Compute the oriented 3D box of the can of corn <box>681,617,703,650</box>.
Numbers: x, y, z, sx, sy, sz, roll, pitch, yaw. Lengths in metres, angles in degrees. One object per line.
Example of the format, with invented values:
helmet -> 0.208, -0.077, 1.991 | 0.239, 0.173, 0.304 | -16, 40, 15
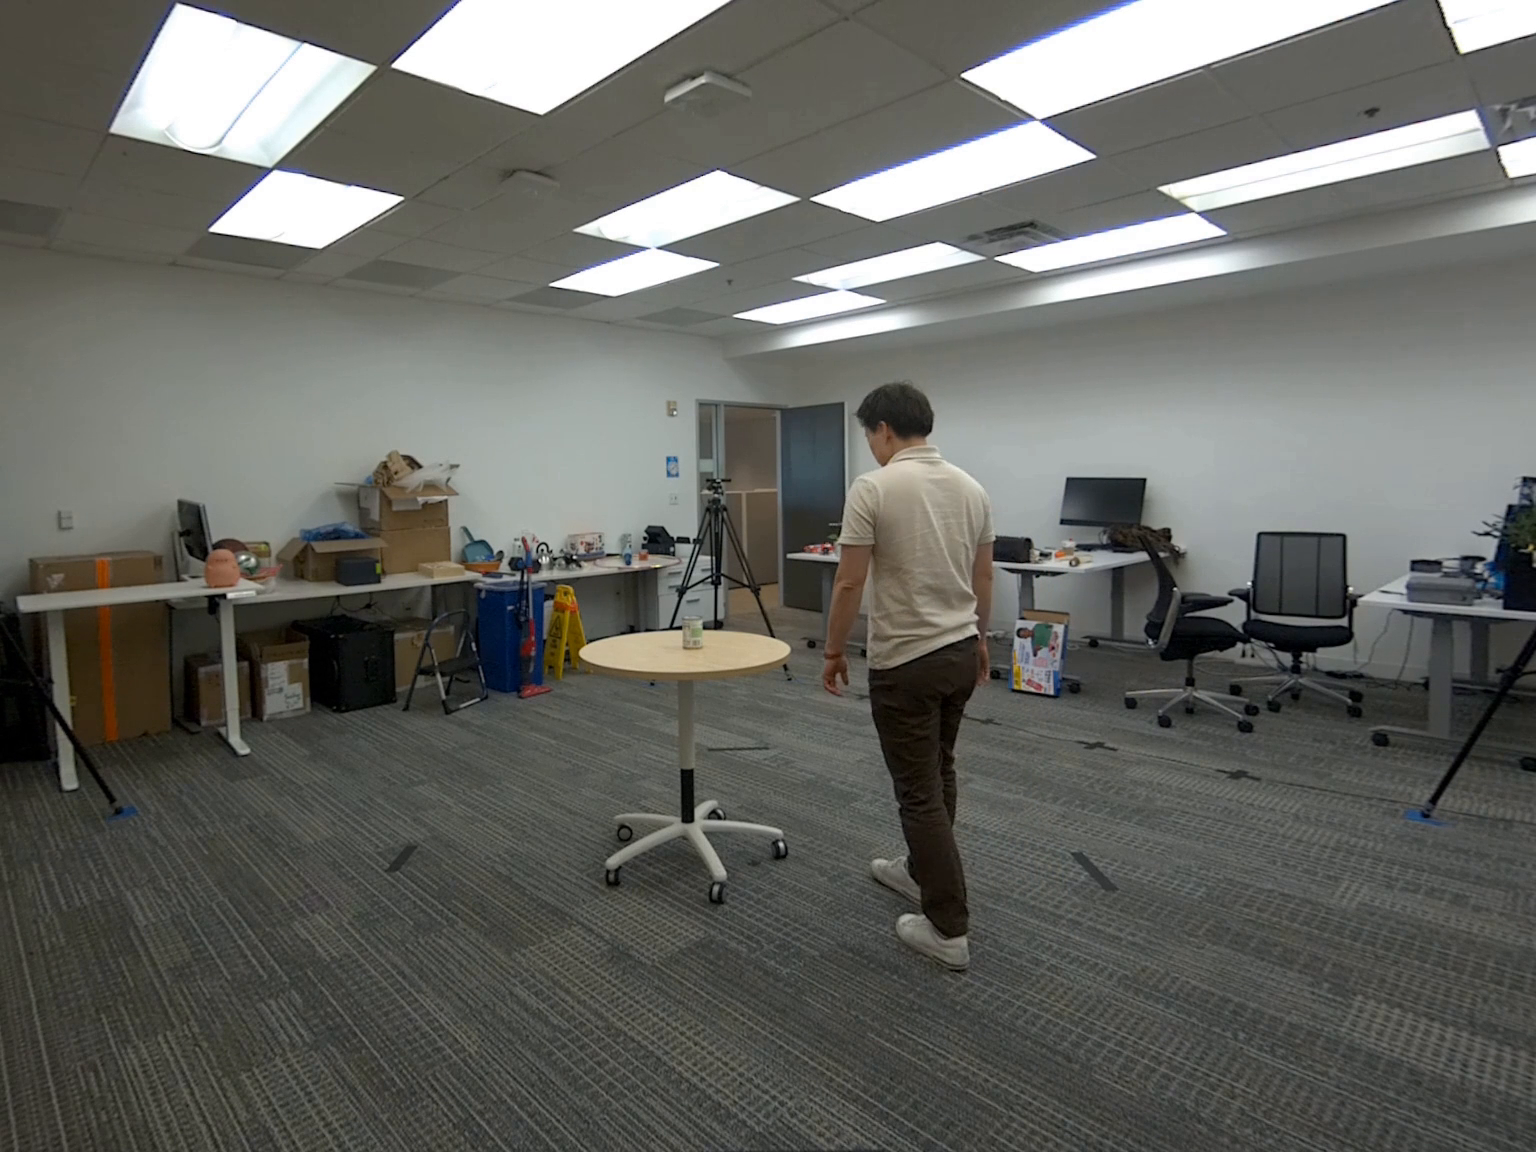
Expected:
can of corn -> -0.276, 0.204, 3.119 | 0.074, 0.111, 0.074 | -1, 3, -2
